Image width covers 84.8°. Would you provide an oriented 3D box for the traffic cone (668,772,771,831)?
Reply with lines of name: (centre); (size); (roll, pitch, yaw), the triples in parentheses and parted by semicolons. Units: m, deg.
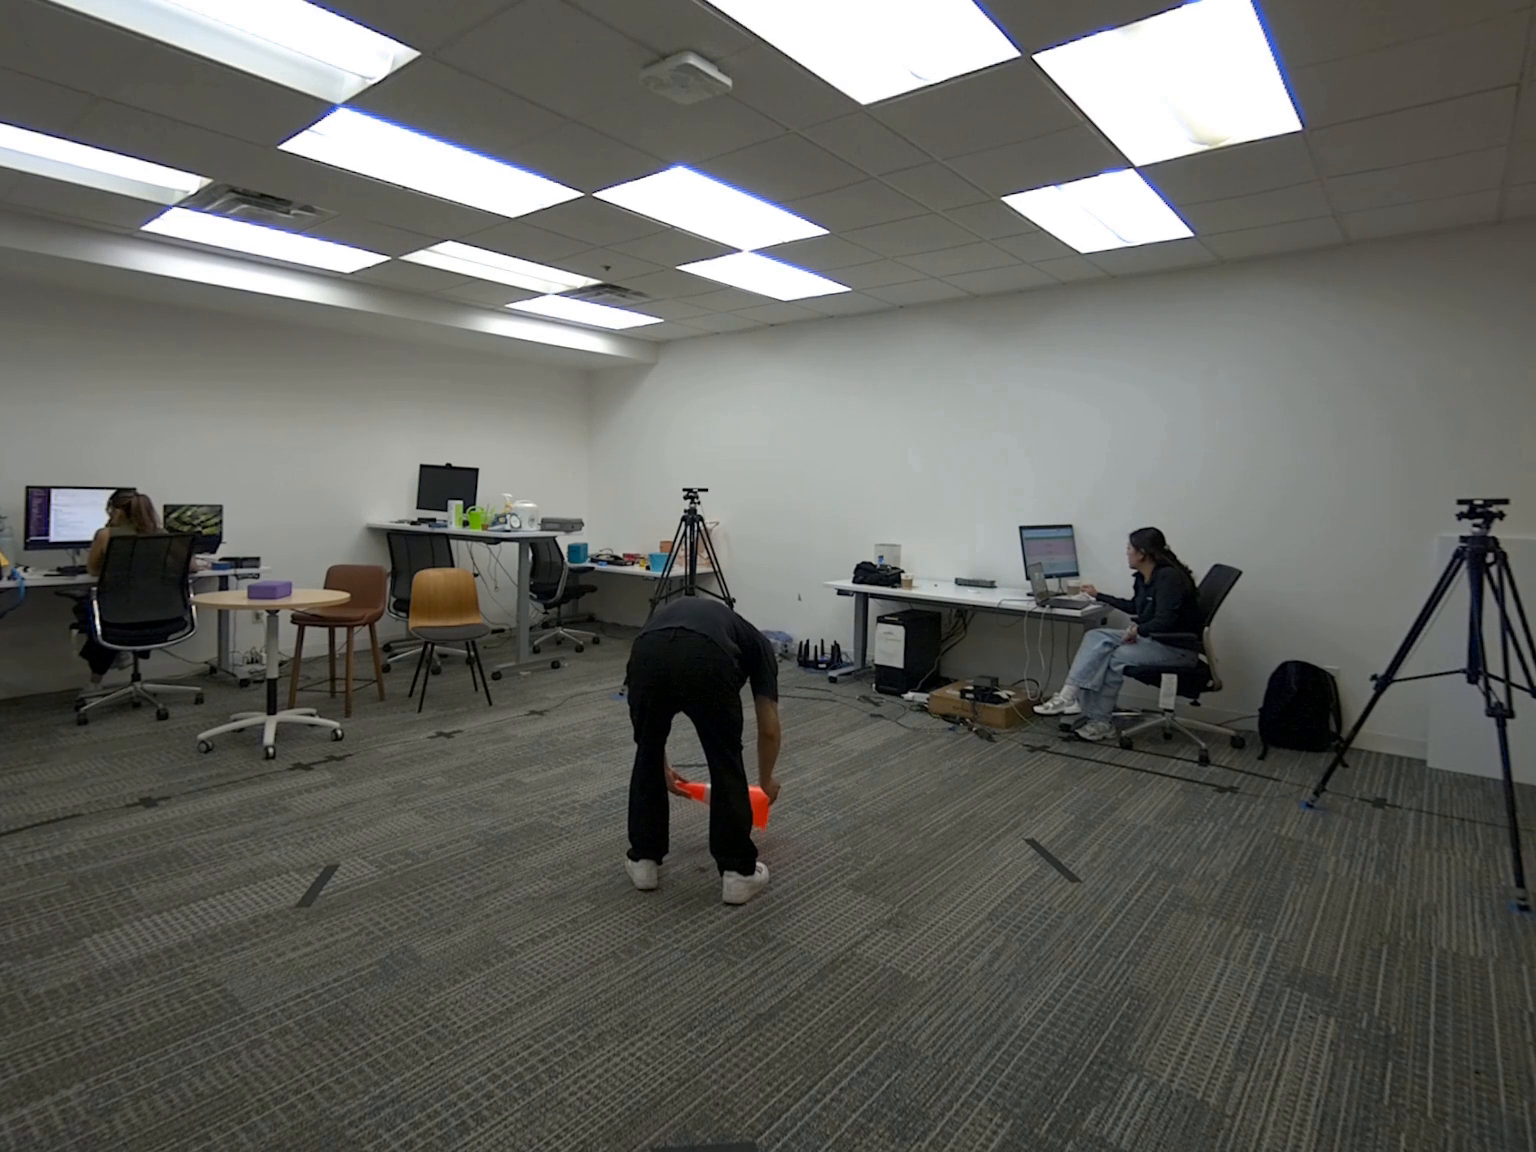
traffic cone: (-0.191, 0.868, 3.344); (0.386, 0.207, 0.200); (14, -14, 3)
